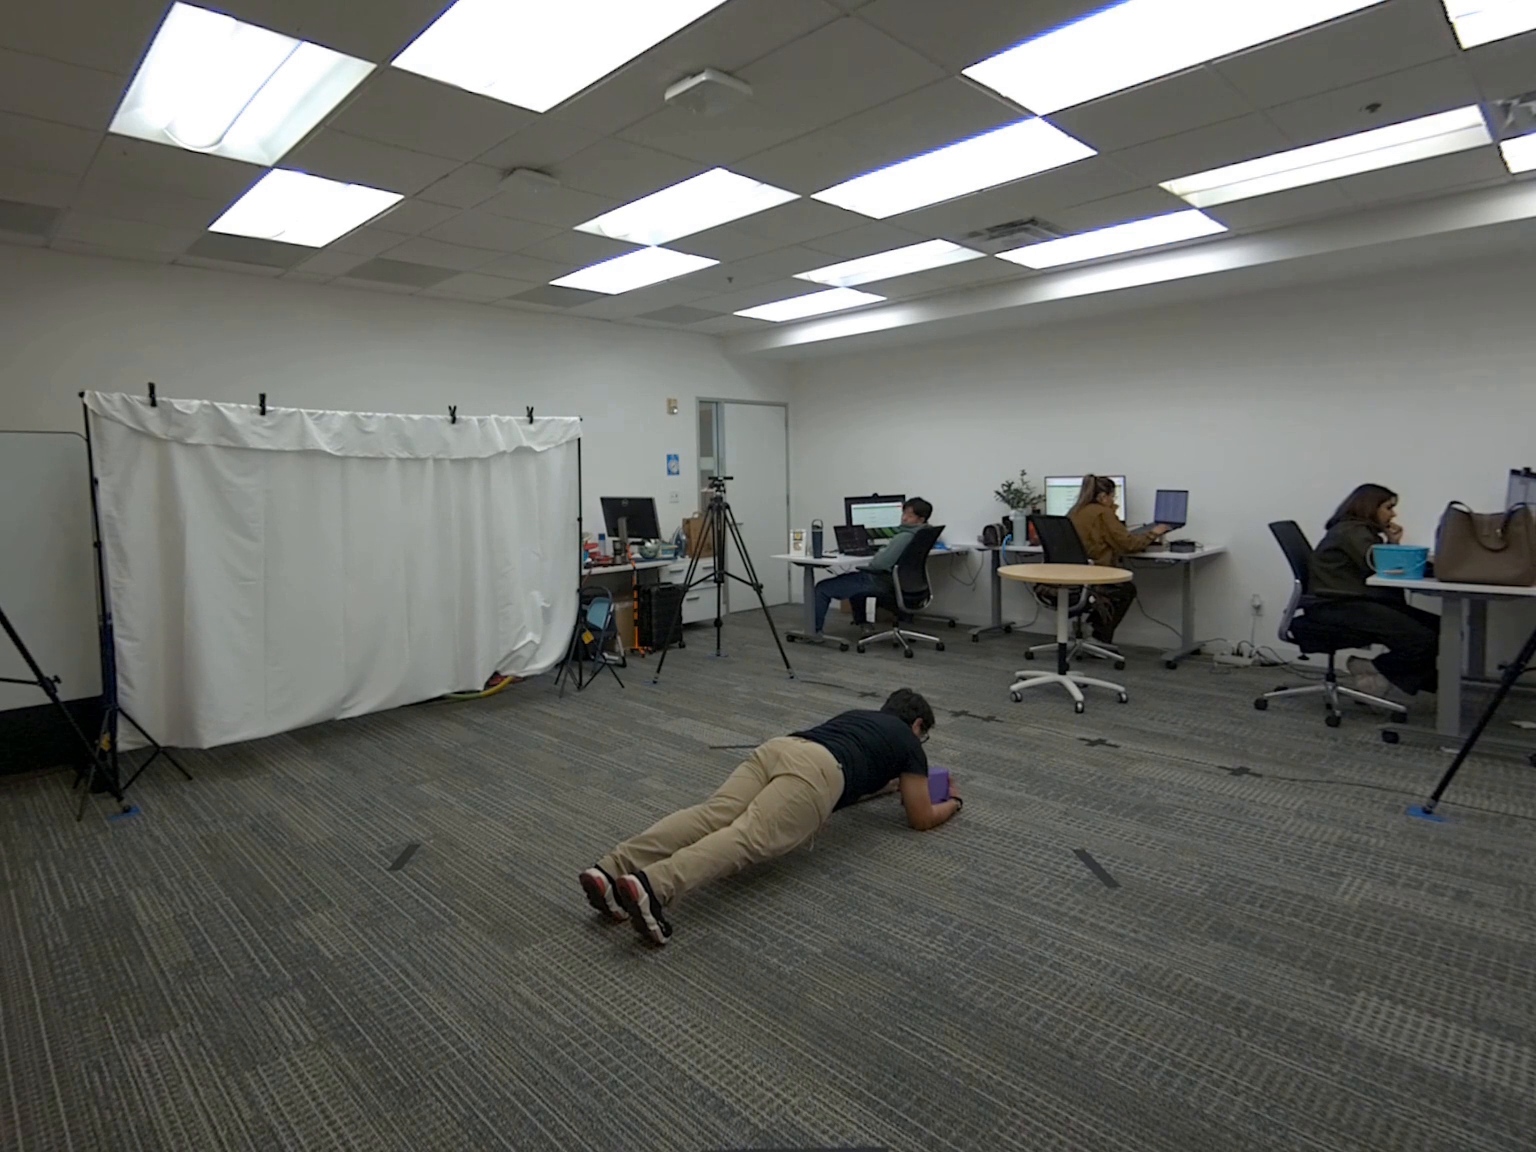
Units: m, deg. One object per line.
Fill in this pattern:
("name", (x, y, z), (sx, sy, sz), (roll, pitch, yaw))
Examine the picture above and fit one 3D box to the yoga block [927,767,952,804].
("yoga block", (0.646, 0.866, 3.501), (0.222, 0.149, 0.078), (4, -2, -39))
